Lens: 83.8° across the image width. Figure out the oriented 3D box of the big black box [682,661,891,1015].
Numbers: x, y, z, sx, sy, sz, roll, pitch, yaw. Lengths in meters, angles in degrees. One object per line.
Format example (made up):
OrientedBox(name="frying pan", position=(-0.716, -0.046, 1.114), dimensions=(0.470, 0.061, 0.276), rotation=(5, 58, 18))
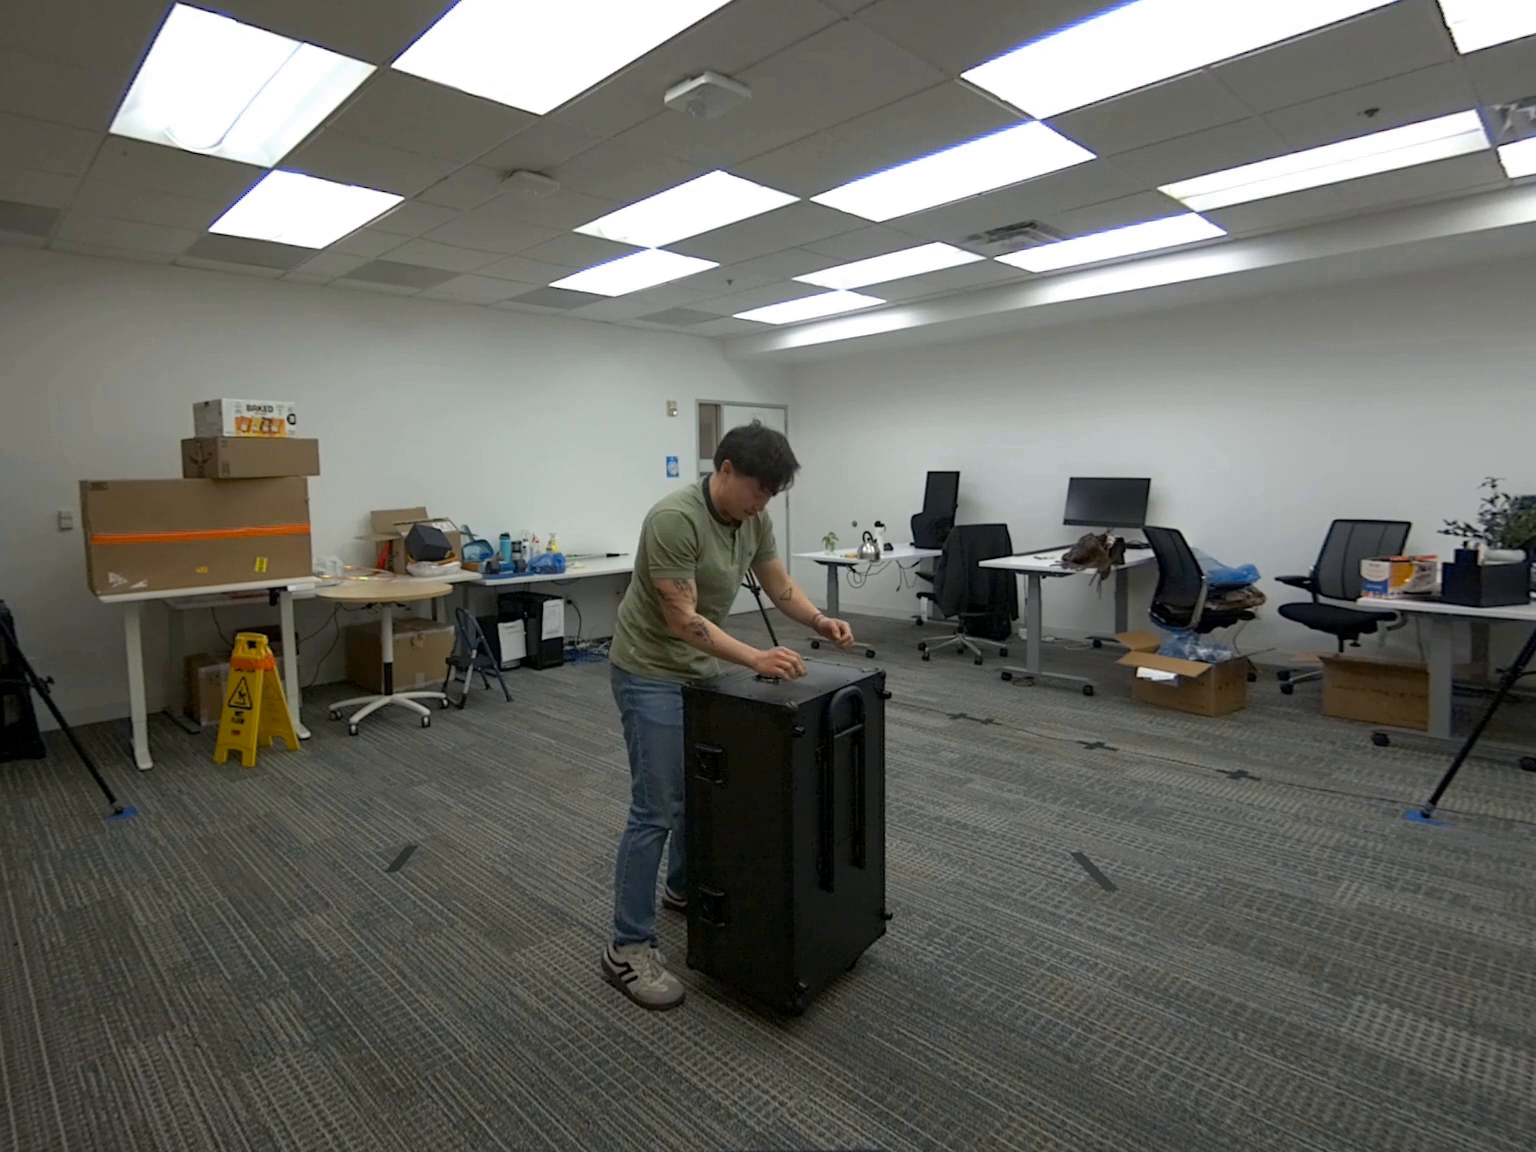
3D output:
OrientedBox(name="big black box", position=(0.077, 0.701, 2.377), dimensions=(0.408, 0.858, 0.508), rotation=(3, 6, 37))
